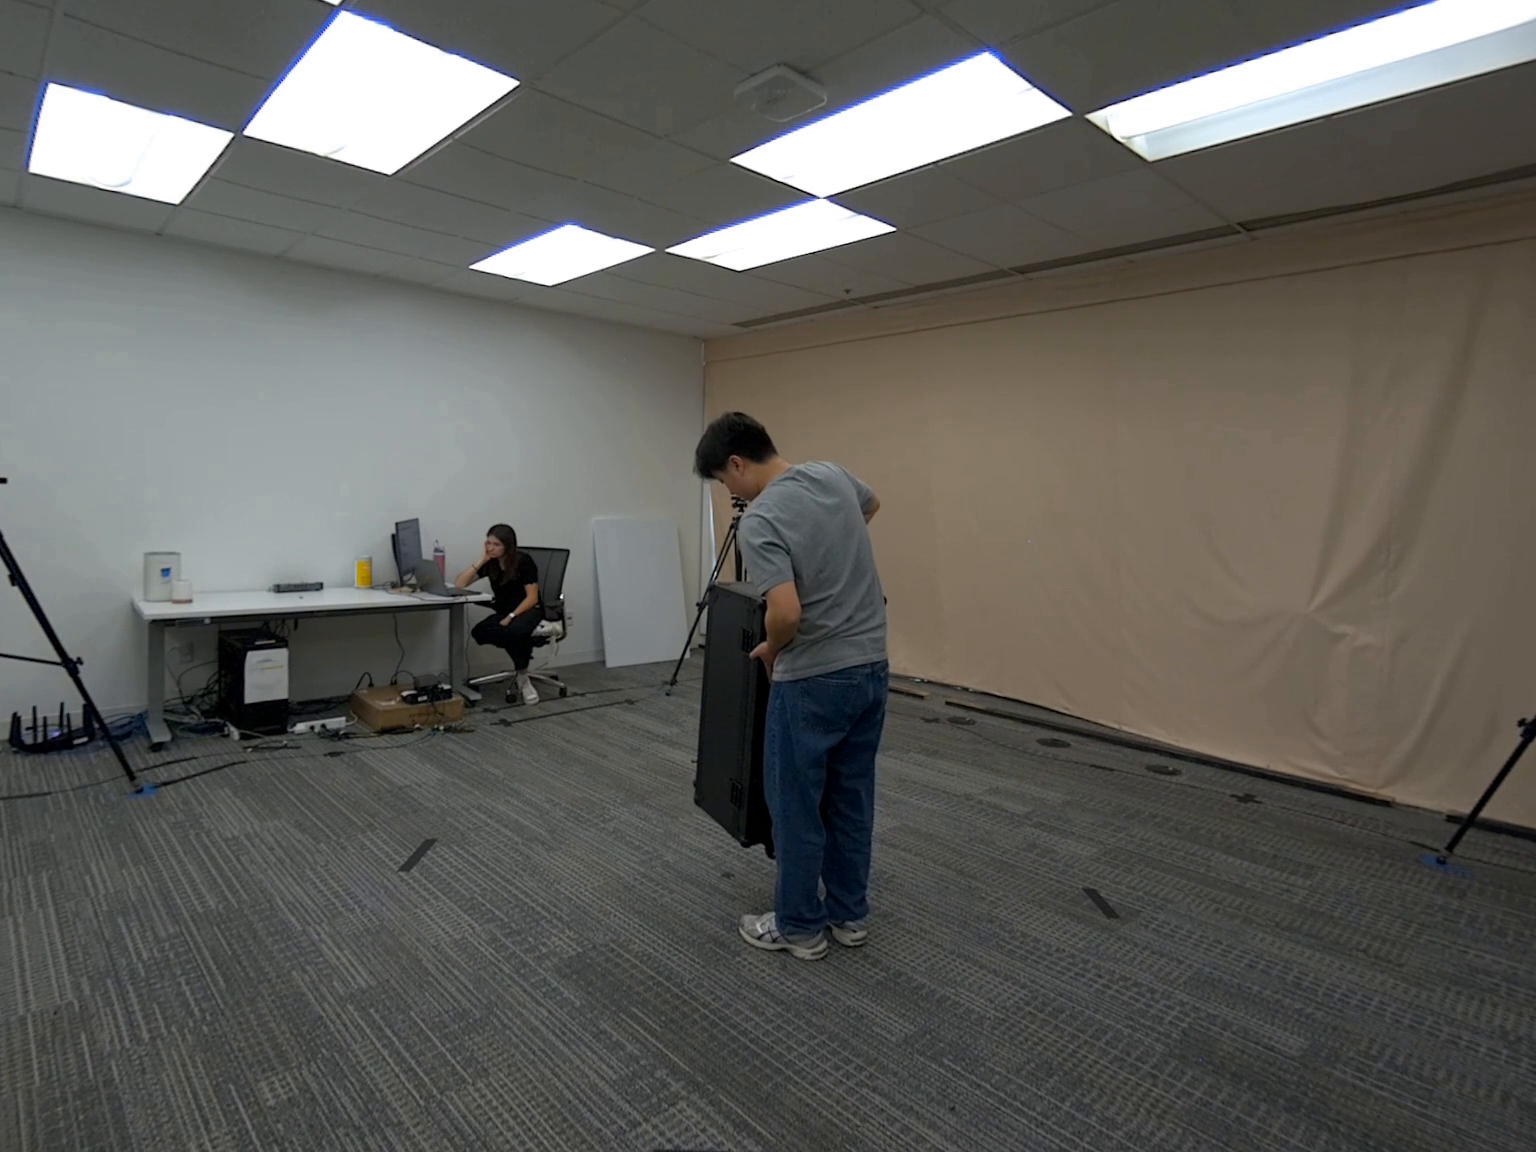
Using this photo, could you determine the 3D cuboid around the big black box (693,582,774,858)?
[{"bbox_3d":[0.061,0.406,2.863,0.511,0.857,0.406,0,8,-30],"label":"big black box"}]
